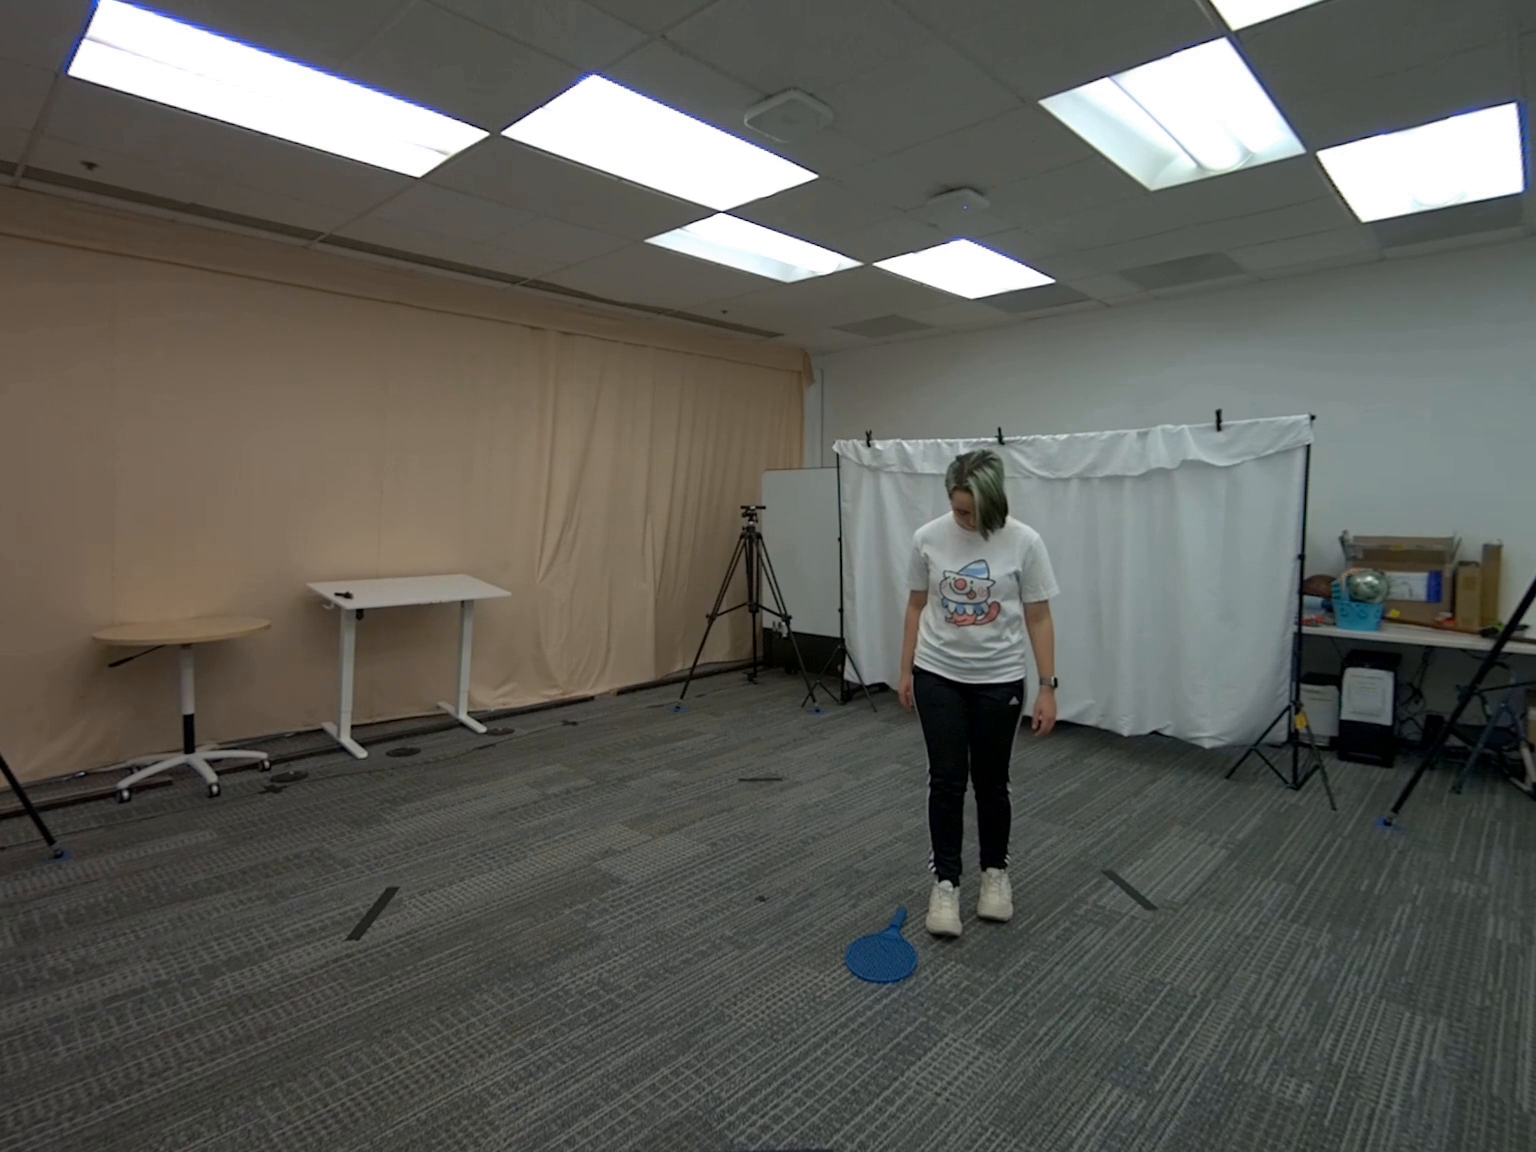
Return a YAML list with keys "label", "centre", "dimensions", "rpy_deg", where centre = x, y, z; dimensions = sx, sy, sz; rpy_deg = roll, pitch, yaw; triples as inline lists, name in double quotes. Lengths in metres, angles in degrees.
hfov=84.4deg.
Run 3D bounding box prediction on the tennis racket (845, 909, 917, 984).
- label: "tennis racket"
  centre: [0.379, 1.157, 2.656]
  dimensions: [0.219, 0.031, 0.424]
  rpy_deg: [3, 8, 23]
